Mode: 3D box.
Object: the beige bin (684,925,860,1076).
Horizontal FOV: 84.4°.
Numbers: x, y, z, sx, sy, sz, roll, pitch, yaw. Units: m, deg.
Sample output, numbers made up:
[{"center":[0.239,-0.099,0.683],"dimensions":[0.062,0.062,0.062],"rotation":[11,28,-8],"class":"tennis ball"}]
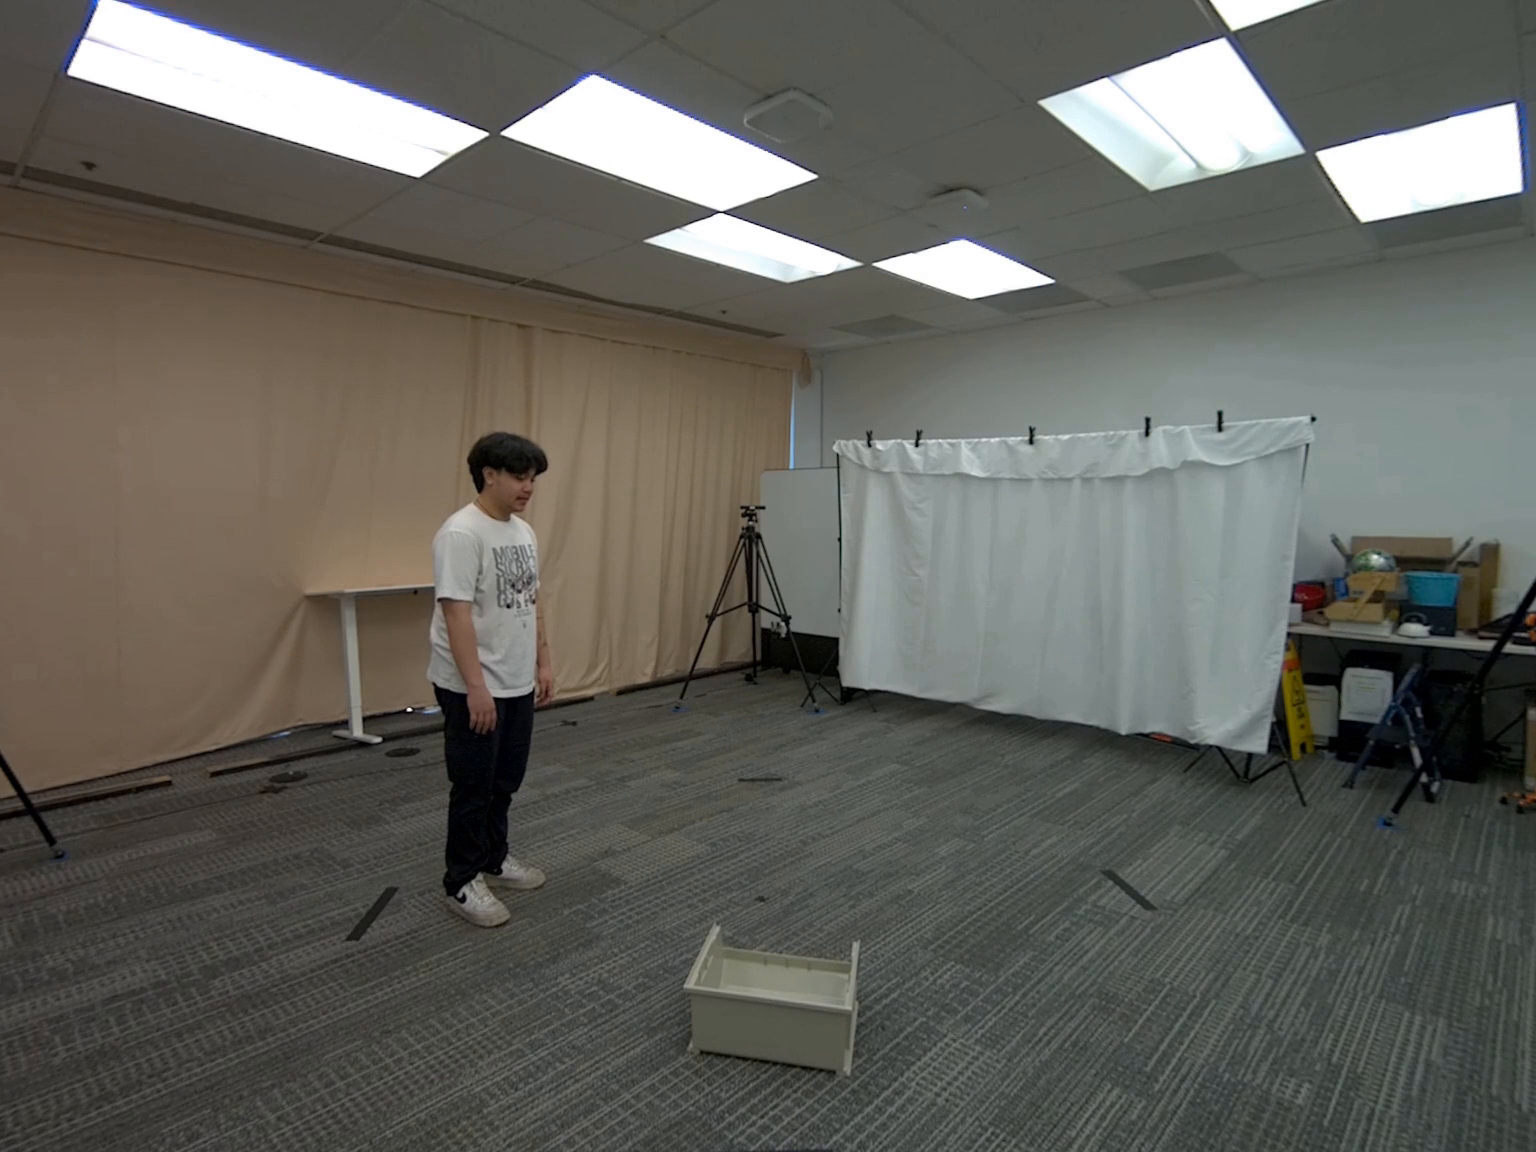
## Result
[{"center":[0.028,1.119,2.259],"dimensions":[0.428,0.188,0.373],"rotation":[1,5,11],"class":"beige bin"}]
